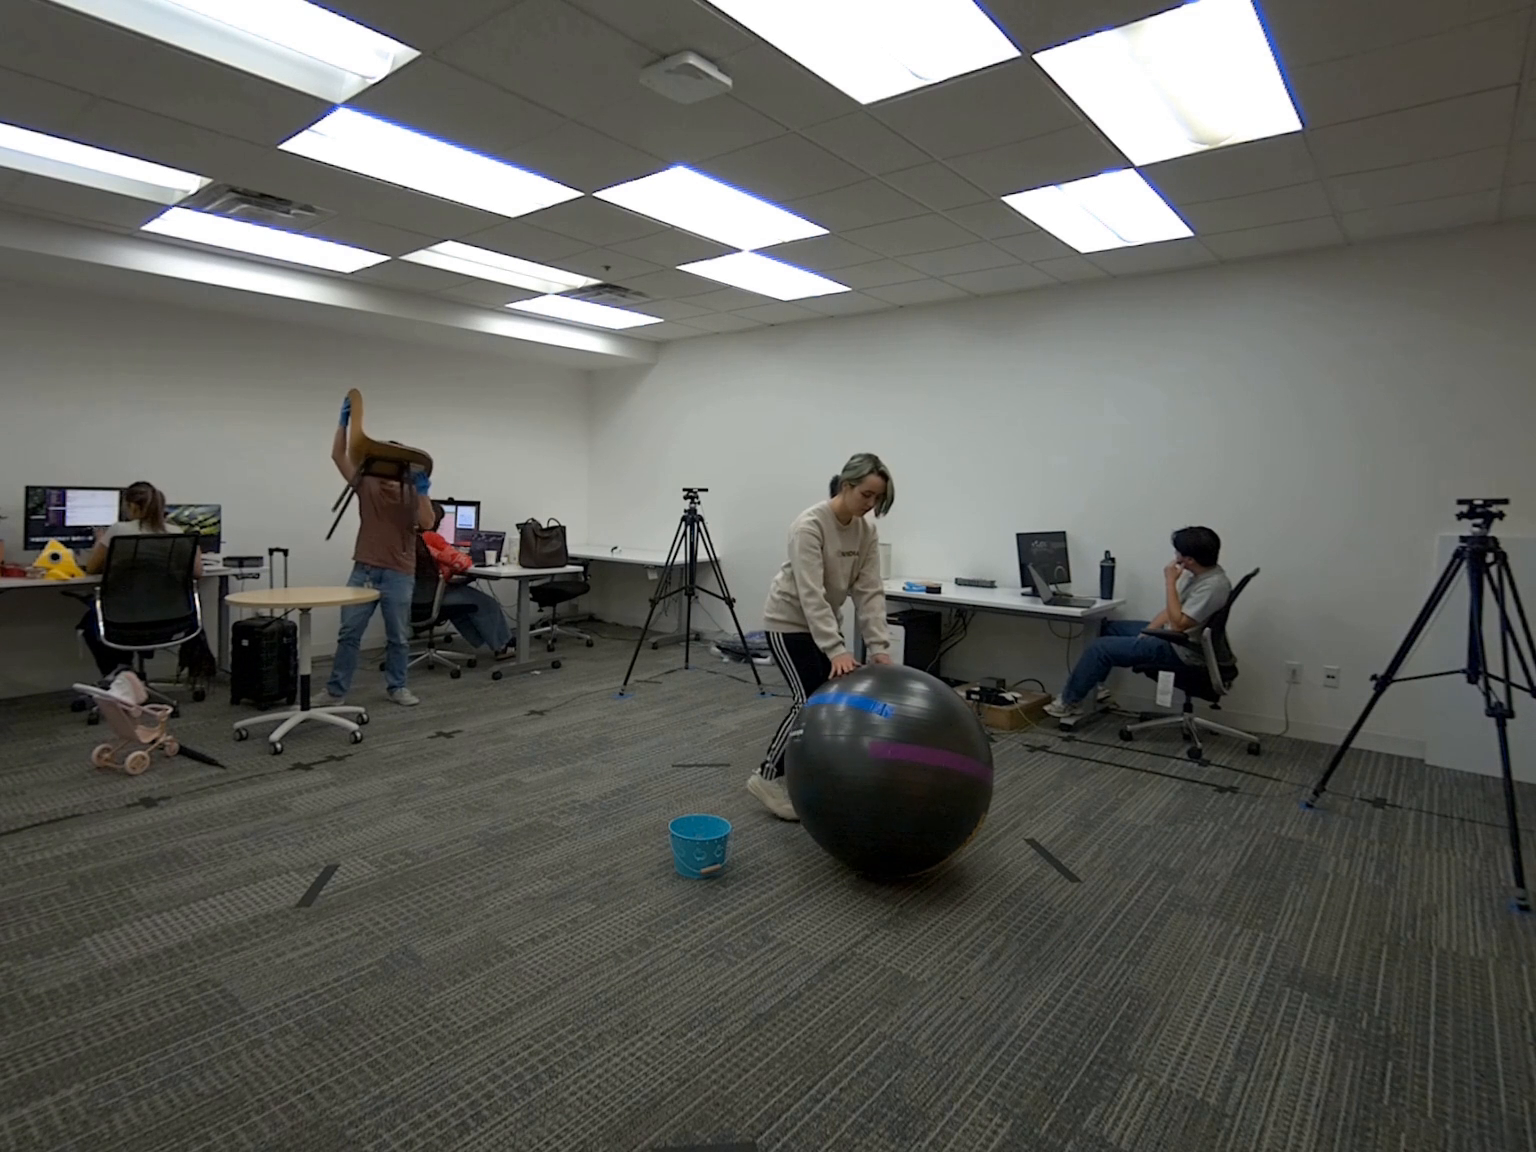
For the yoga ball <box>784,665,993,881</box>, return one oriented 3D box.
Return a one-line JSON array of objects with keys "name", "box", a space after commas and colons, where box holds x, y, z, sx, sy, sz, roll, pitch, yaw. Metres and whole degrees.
[{"name": "yoga ball", "box": [0.431, 0.708, 3.153, 0.757, 0.755, 0.762, 1, 4, -2]}]
